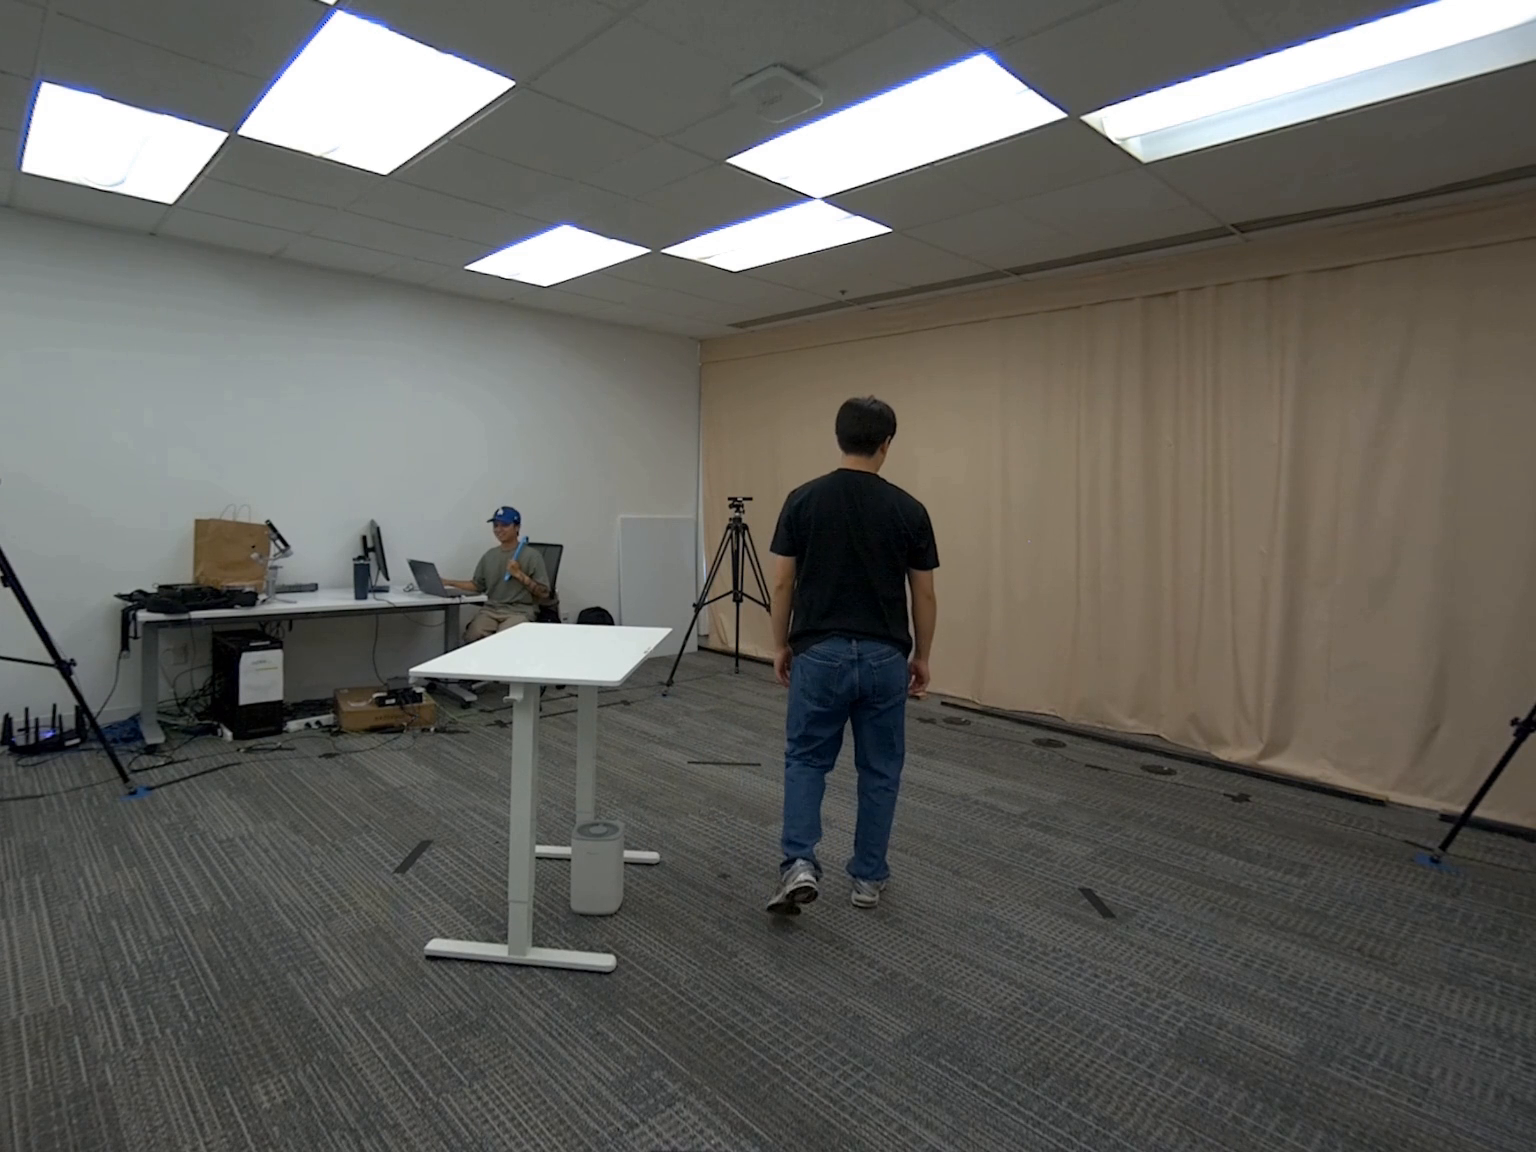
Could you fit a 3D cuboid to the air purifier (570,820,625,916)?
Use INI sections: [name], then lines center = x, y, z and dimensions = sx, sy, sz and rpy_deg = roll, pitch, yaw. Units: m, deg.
[air purifier]
center = -0.576, 0.984, 2.850
dimensions = 0.171, 0.264, 0.172
rpy_deg = 1, 4, -2
